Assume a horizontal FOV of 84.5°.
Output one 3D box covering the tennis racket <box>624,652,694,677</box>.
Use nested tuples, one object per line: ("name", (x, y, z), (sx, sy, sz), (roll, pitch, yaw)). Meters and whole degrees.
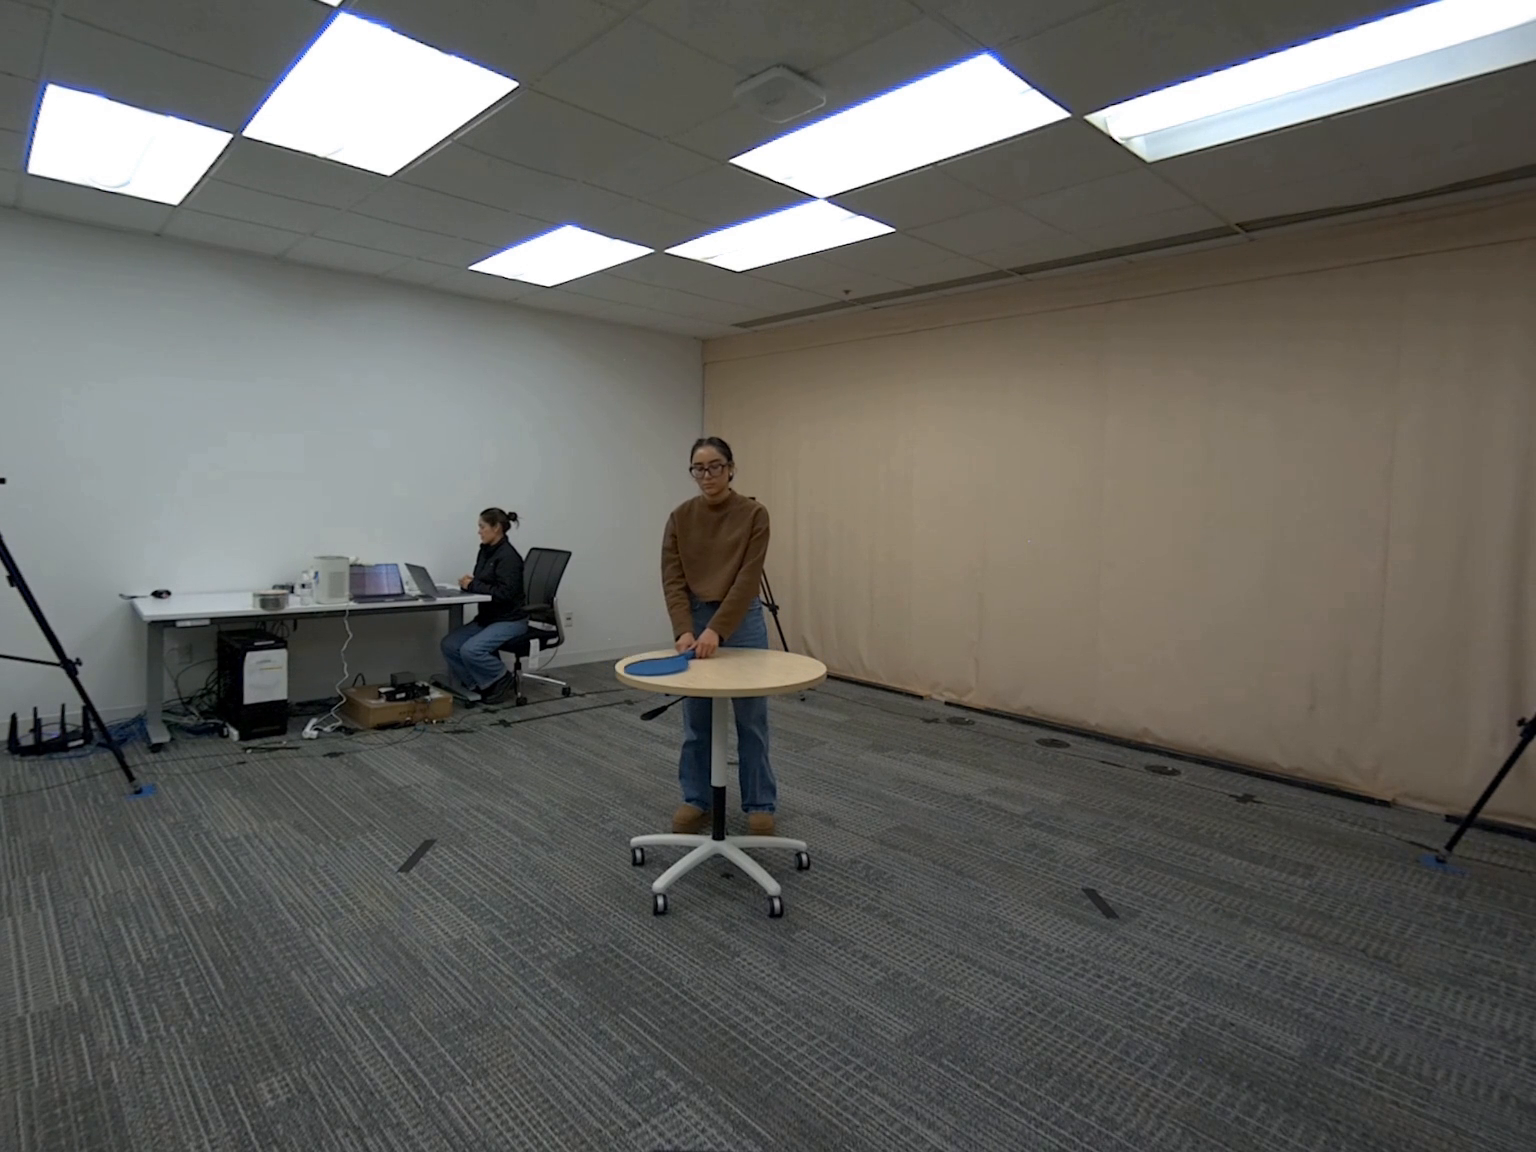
("tennis racket", (-0.395, 0.320, 3.058), (0.219, 0.031, 0.425), (6, 9, 31))
